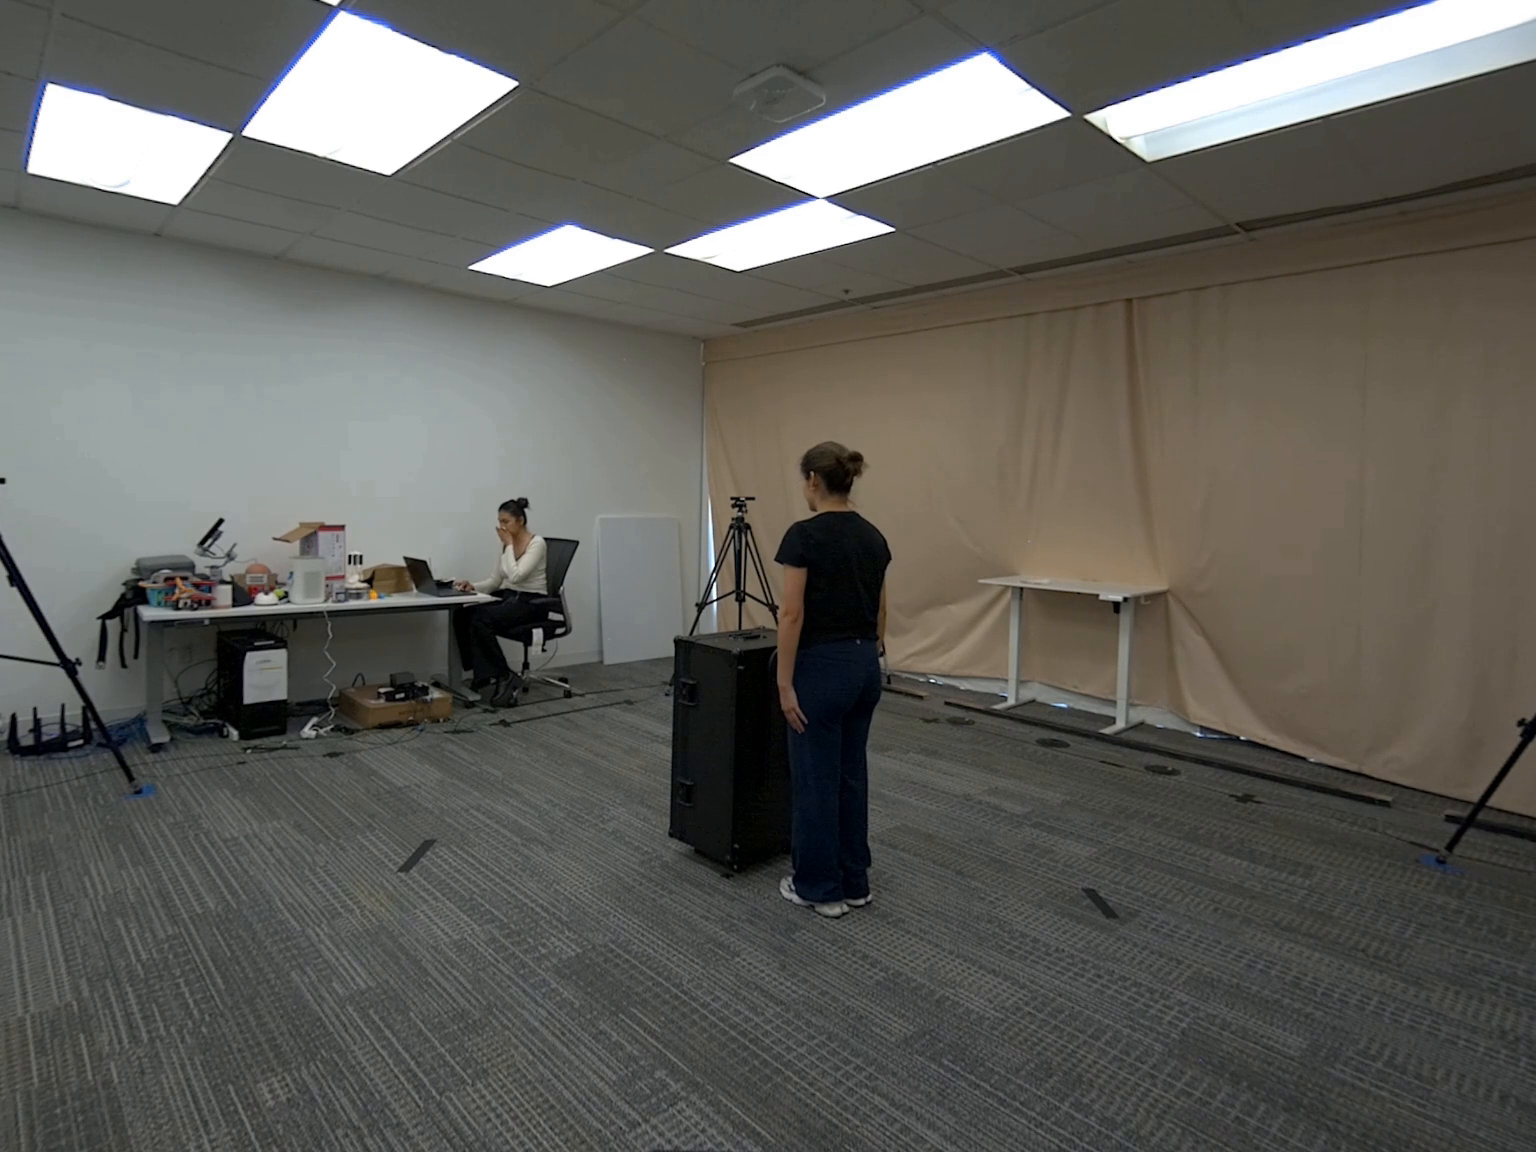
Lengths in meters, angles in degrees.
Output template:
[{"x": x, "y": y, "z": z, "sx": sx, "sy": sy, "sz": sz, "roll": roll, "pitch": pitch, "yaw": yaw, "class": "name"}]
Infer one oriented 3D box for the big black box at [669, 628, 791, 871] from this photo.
[{"x": -0.076, "y": 0.668, "z": 3.282, "sx": 0.406, "sy": 0.859, "sz": 0.509, "roll": 6, "pitch": 5, "yaw": 44, "class": "big black box"}]
